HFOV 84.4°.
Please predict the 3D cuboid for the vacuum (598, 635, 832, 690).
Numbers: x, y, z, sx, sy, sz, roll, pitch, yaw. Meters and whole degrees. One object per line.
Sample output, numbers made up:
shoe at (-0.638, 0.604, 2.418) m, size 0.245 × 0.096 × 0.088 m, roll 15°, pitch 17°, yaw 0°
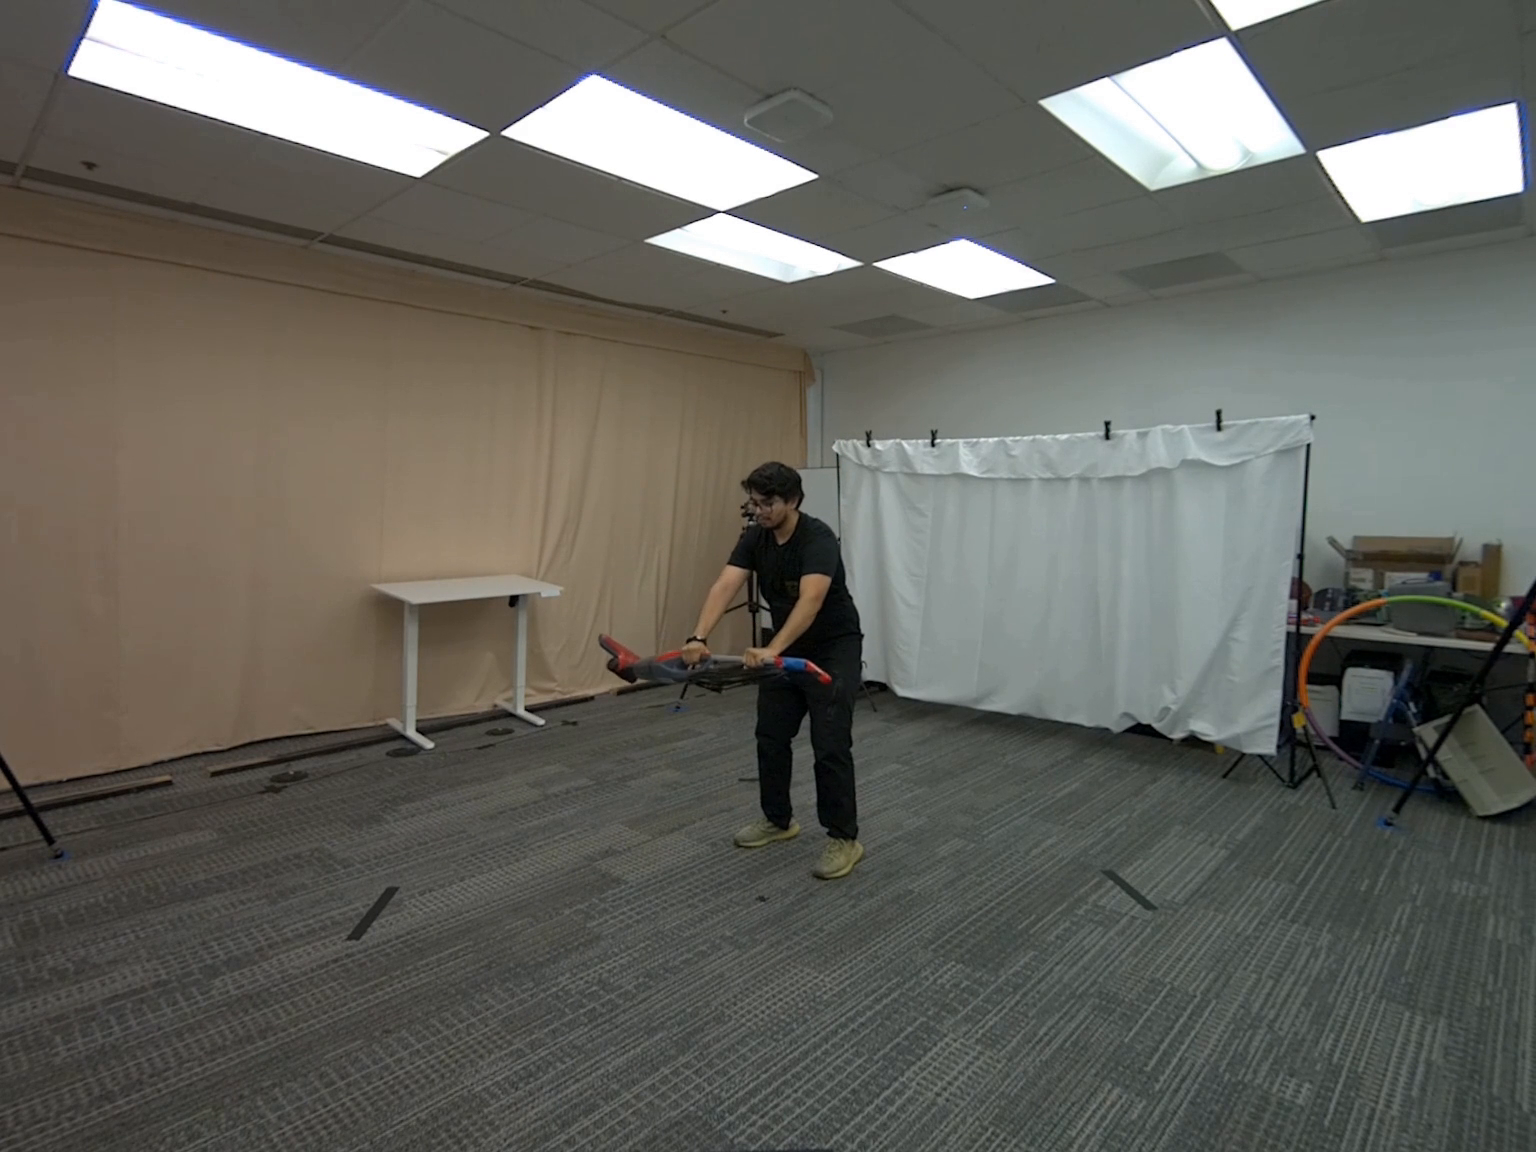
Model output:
vacuum at (-0.200, 0.336, 2.991) m, size 1.082 × 0.144 × 0.244 m, roll -2°, pitch -33°, yaw 45°
